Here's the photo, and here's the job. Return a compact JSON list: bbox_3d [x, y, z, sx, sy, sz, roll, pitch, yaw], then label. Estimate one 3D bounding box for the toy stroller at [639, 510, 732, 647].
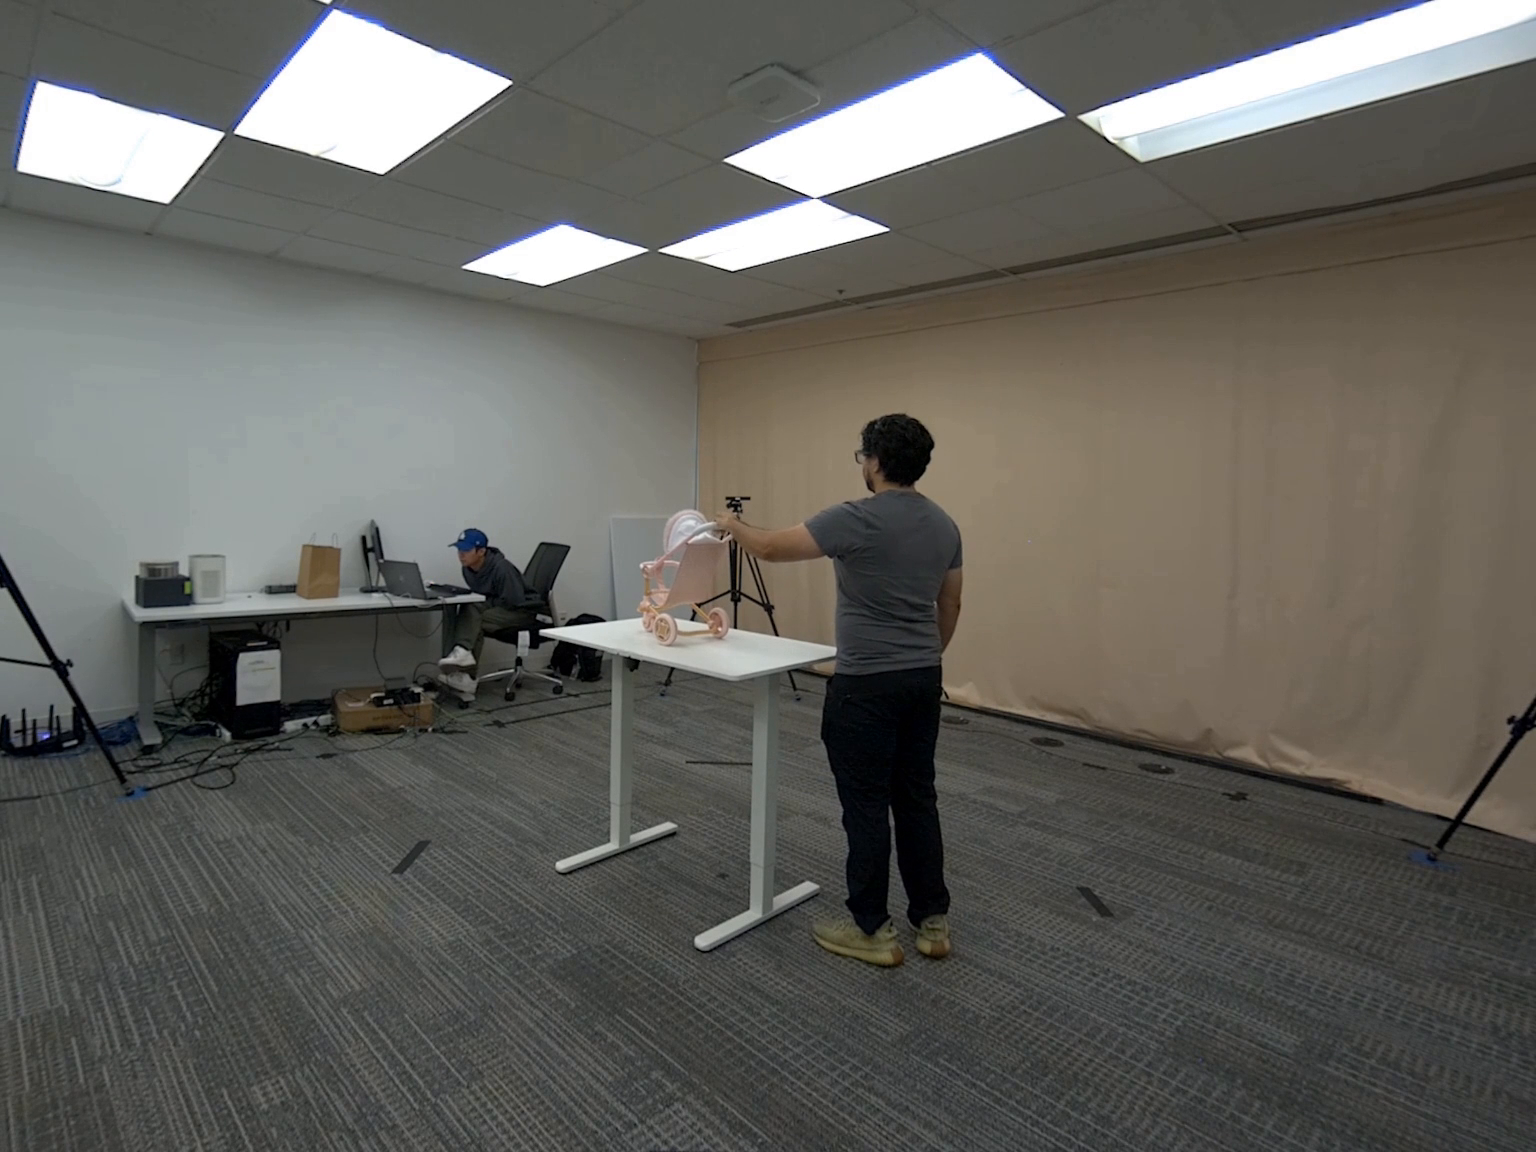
[{"bbox_3d":[-0.308,0.004,2.997,0.275,0.530,0.352,-1,20,-41],"label":"toy stroller"}]
